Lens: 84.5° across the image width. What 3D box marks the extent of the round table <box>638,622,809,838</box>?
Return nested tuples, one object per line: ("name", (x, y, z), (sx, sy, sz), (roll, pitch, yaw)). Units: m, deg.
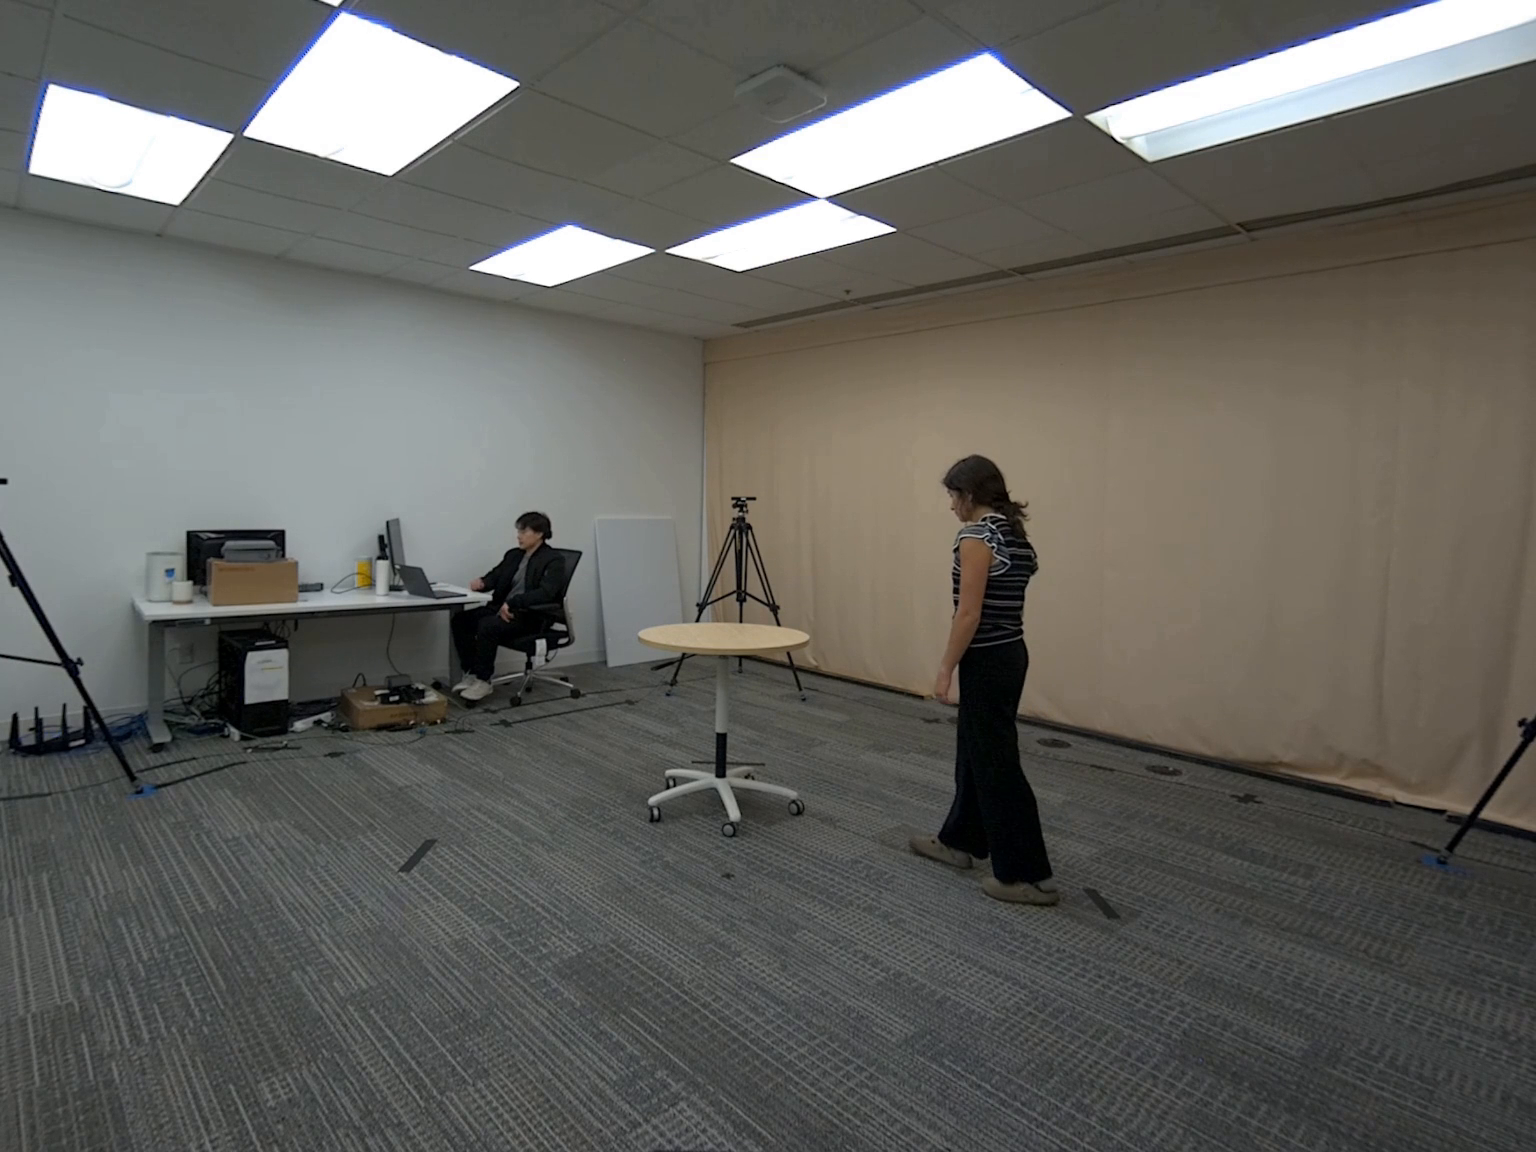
("round table", (-0.223, 0.657, 3.784), (0.763, 0.792, 0.766), (1, 3, -1))
